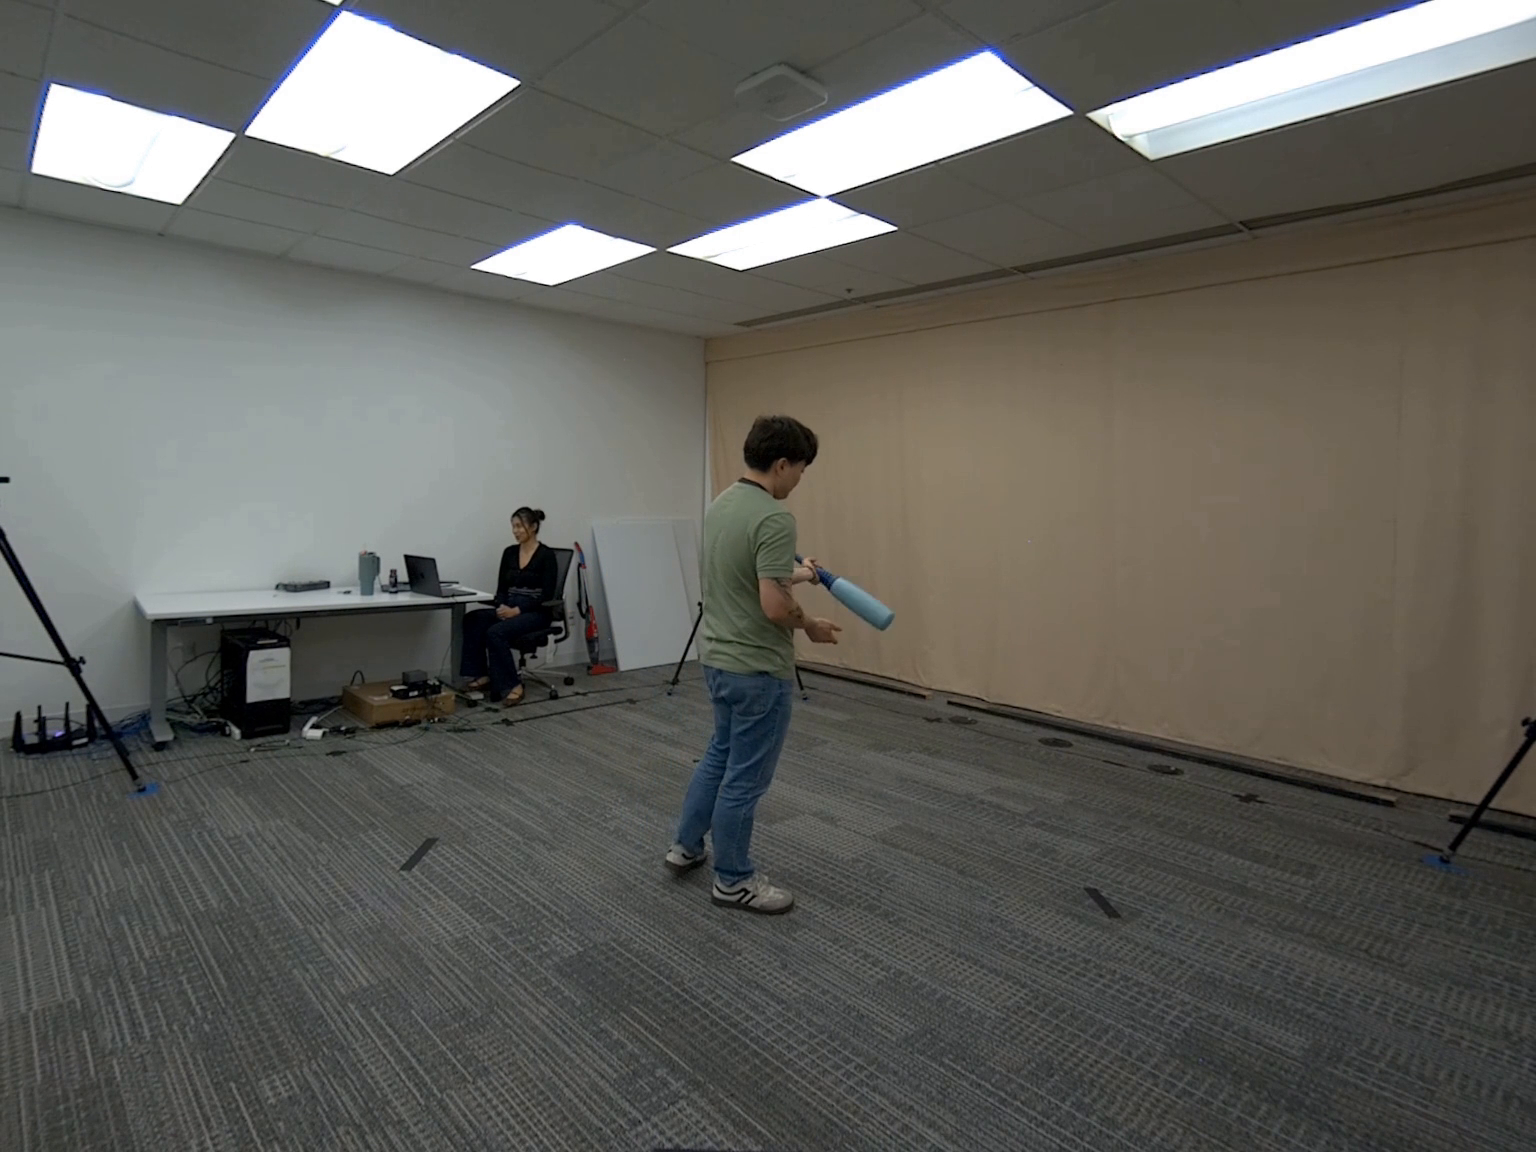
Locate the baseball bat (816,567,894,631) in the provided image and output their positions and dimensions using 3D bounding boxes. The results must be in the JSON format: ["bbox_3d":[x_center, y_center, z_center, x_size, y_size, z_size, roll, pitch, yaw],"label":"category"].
[{"bbox_3d":[0.225,0.022,3.182,0.556,0.088,0.087,38,21,24],"label":"baseball bat"}]
